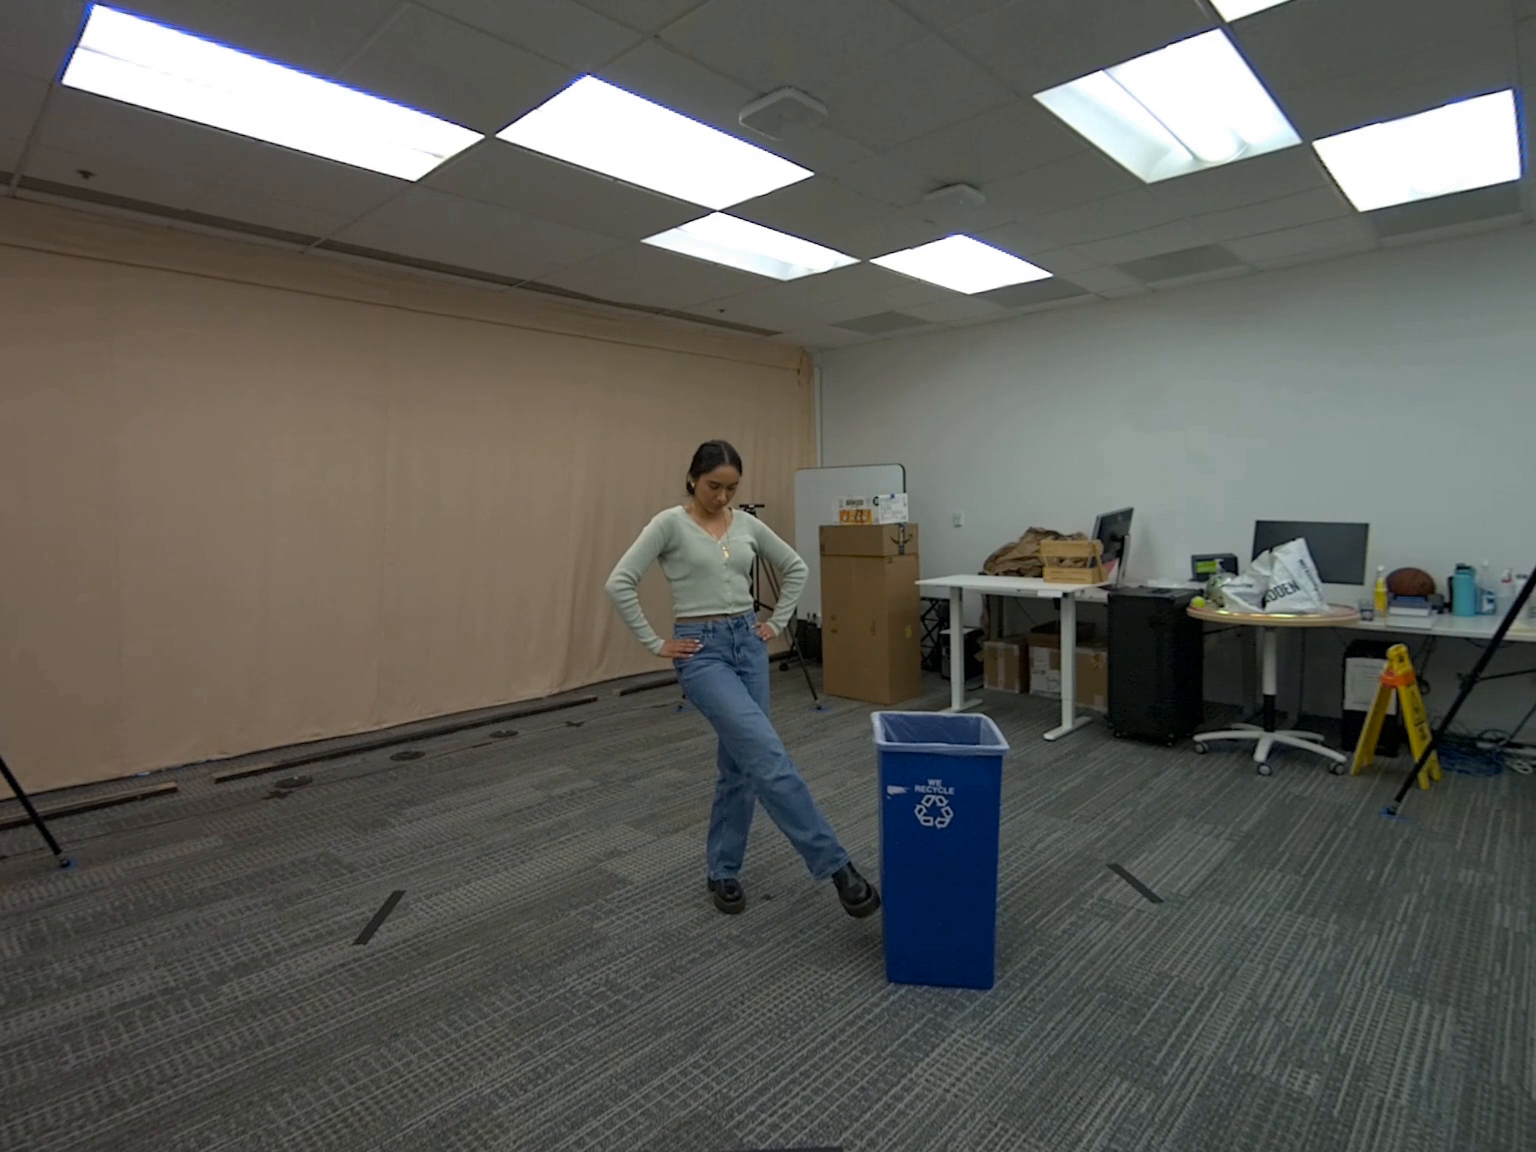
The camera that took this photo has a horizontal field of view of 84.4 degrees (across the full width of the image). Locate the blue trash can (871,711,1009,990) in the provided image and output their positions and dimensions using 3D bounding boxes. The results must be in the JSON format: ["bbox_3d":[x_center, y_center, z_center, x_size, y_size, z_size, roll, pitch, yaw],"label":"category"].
[{"bbox_3d":[0.517,0.811,2.532,0.381,0.712,0.372,0,3,5],"label":"blue trash can"}]
